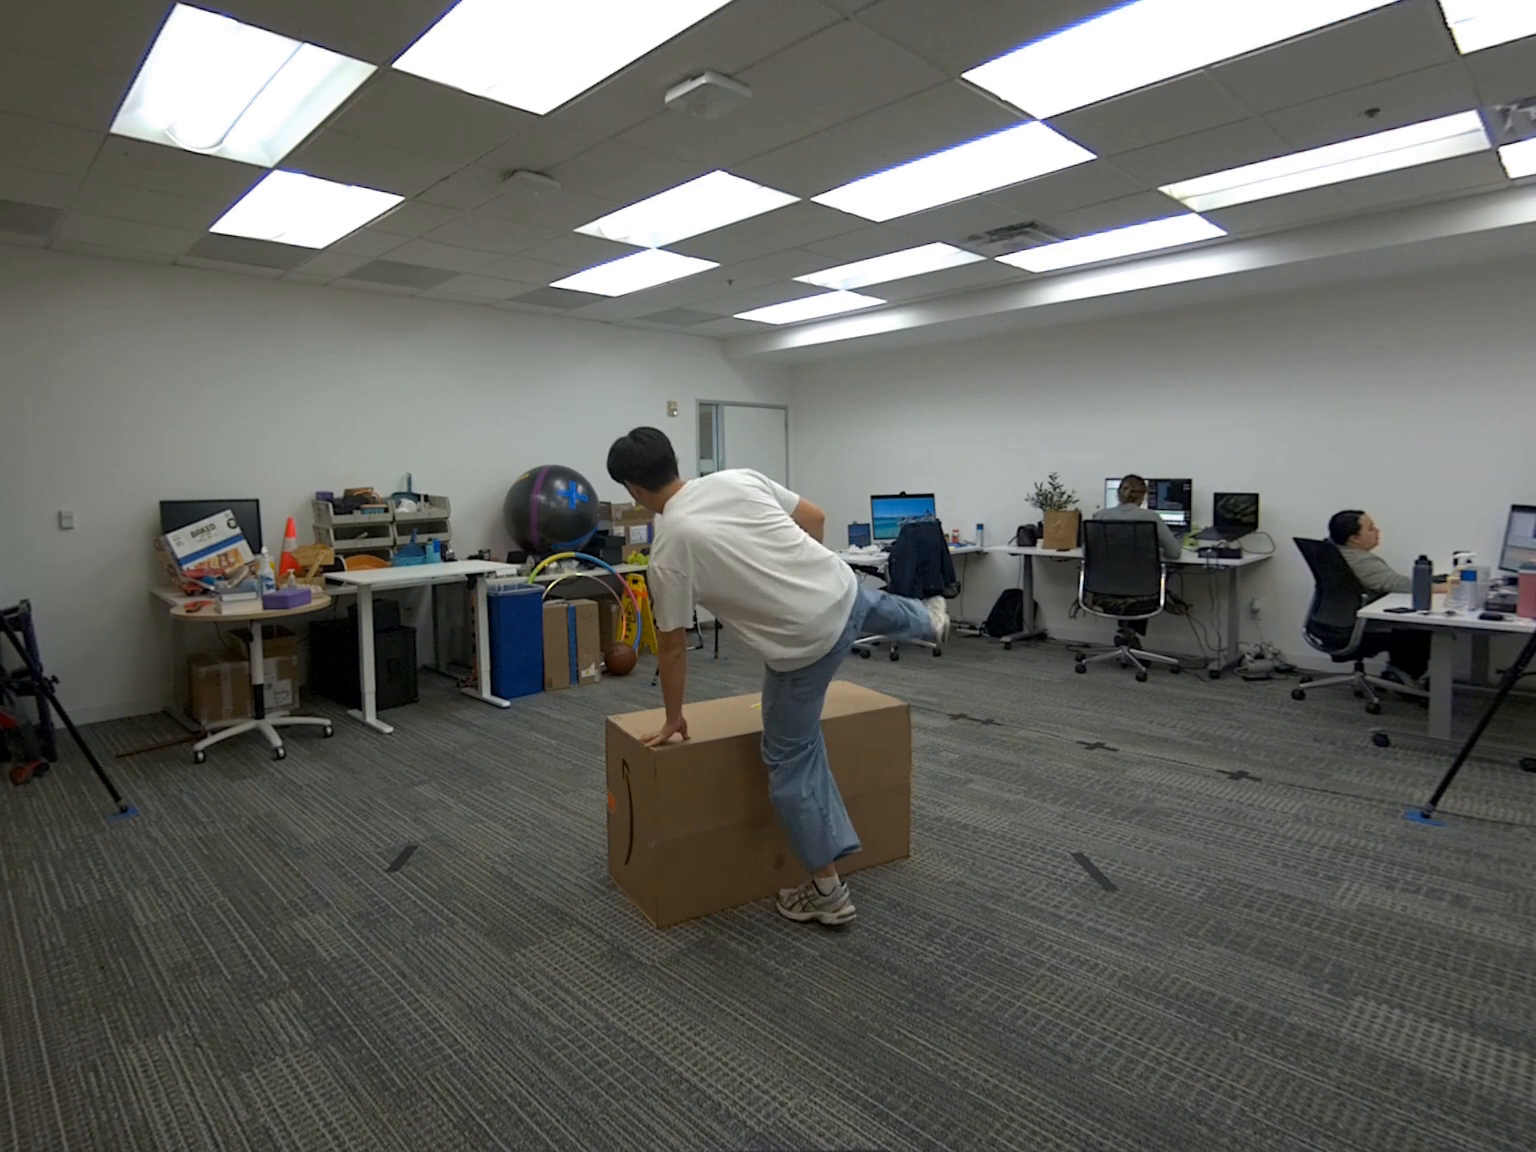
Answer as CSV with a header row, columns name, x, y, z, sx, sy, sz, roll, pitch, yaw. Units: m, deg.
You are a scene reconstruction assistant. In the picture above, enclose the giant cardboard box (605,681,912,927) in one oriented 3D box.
name,x,y,z,sx,sy,sz,roll,pitch,yaw
giant cardboard box,-0.025,0.762,3.070,1.003,0.575,0.438,-4,6,-29
